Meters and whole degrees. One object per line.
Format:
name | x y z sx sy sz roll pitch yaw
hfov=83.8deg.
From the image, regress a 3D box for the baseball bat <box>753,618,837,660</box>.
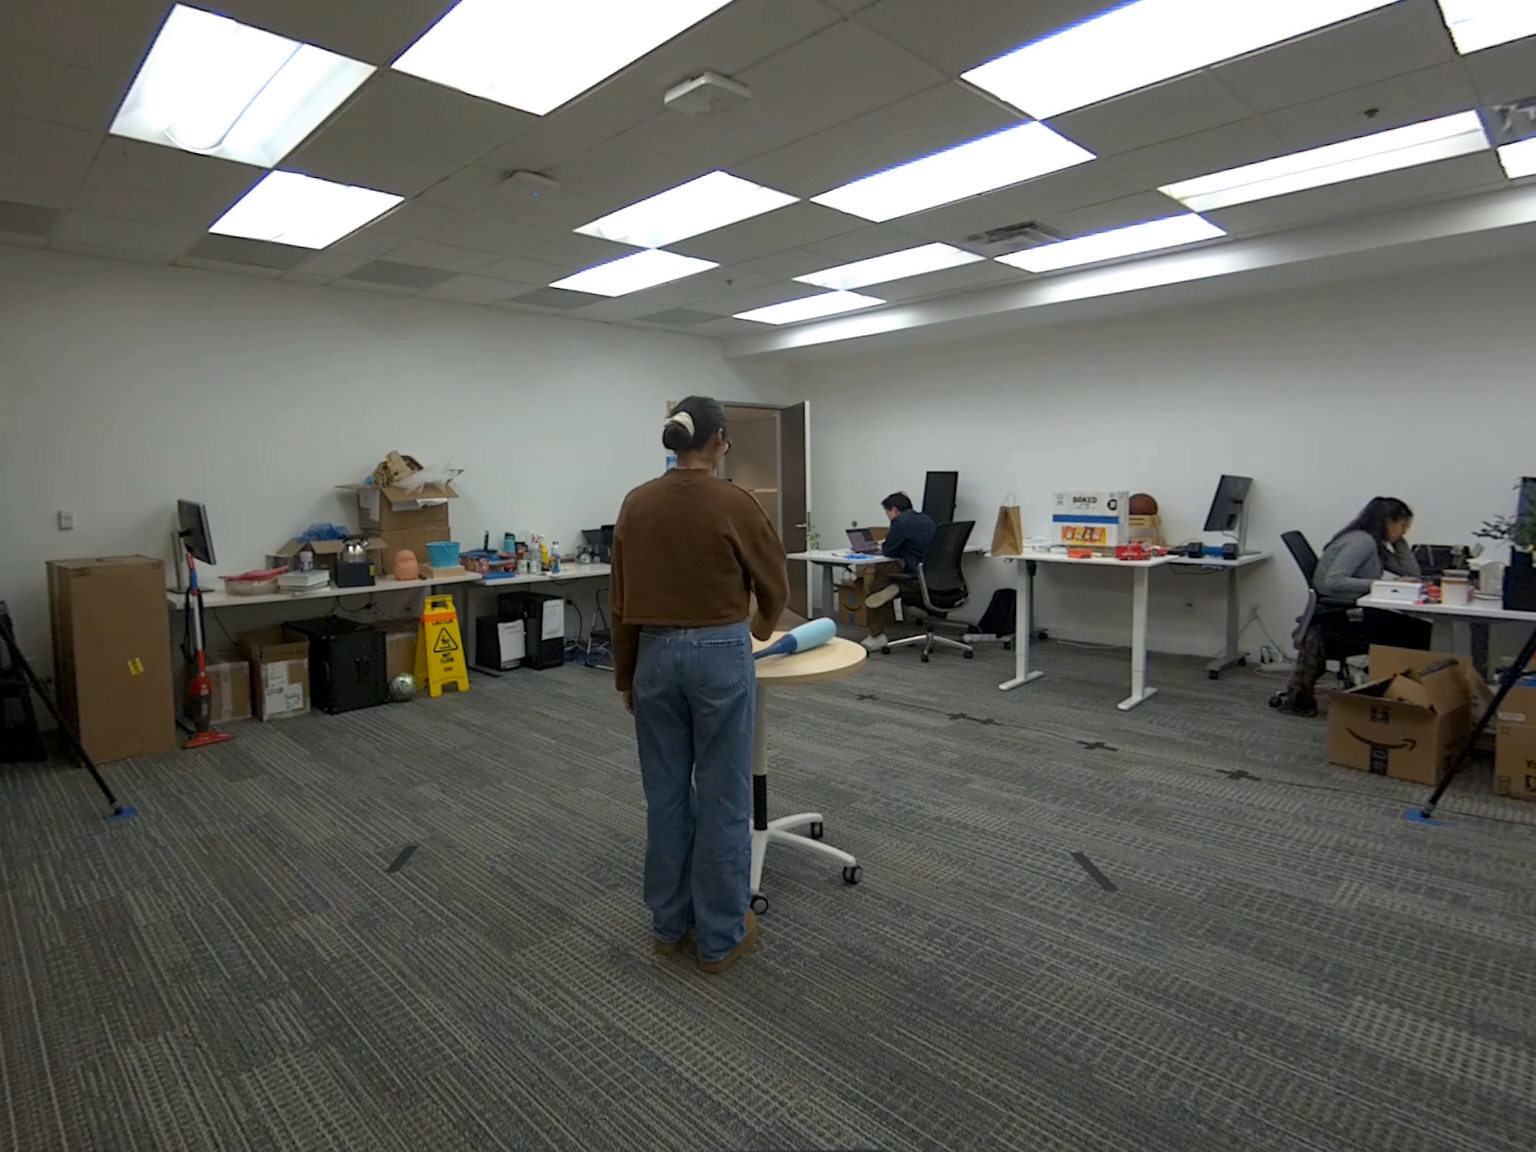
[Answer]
baseball bat | 0.065 0.242 2.957 0.092 0.088 0.531 3 11 37
